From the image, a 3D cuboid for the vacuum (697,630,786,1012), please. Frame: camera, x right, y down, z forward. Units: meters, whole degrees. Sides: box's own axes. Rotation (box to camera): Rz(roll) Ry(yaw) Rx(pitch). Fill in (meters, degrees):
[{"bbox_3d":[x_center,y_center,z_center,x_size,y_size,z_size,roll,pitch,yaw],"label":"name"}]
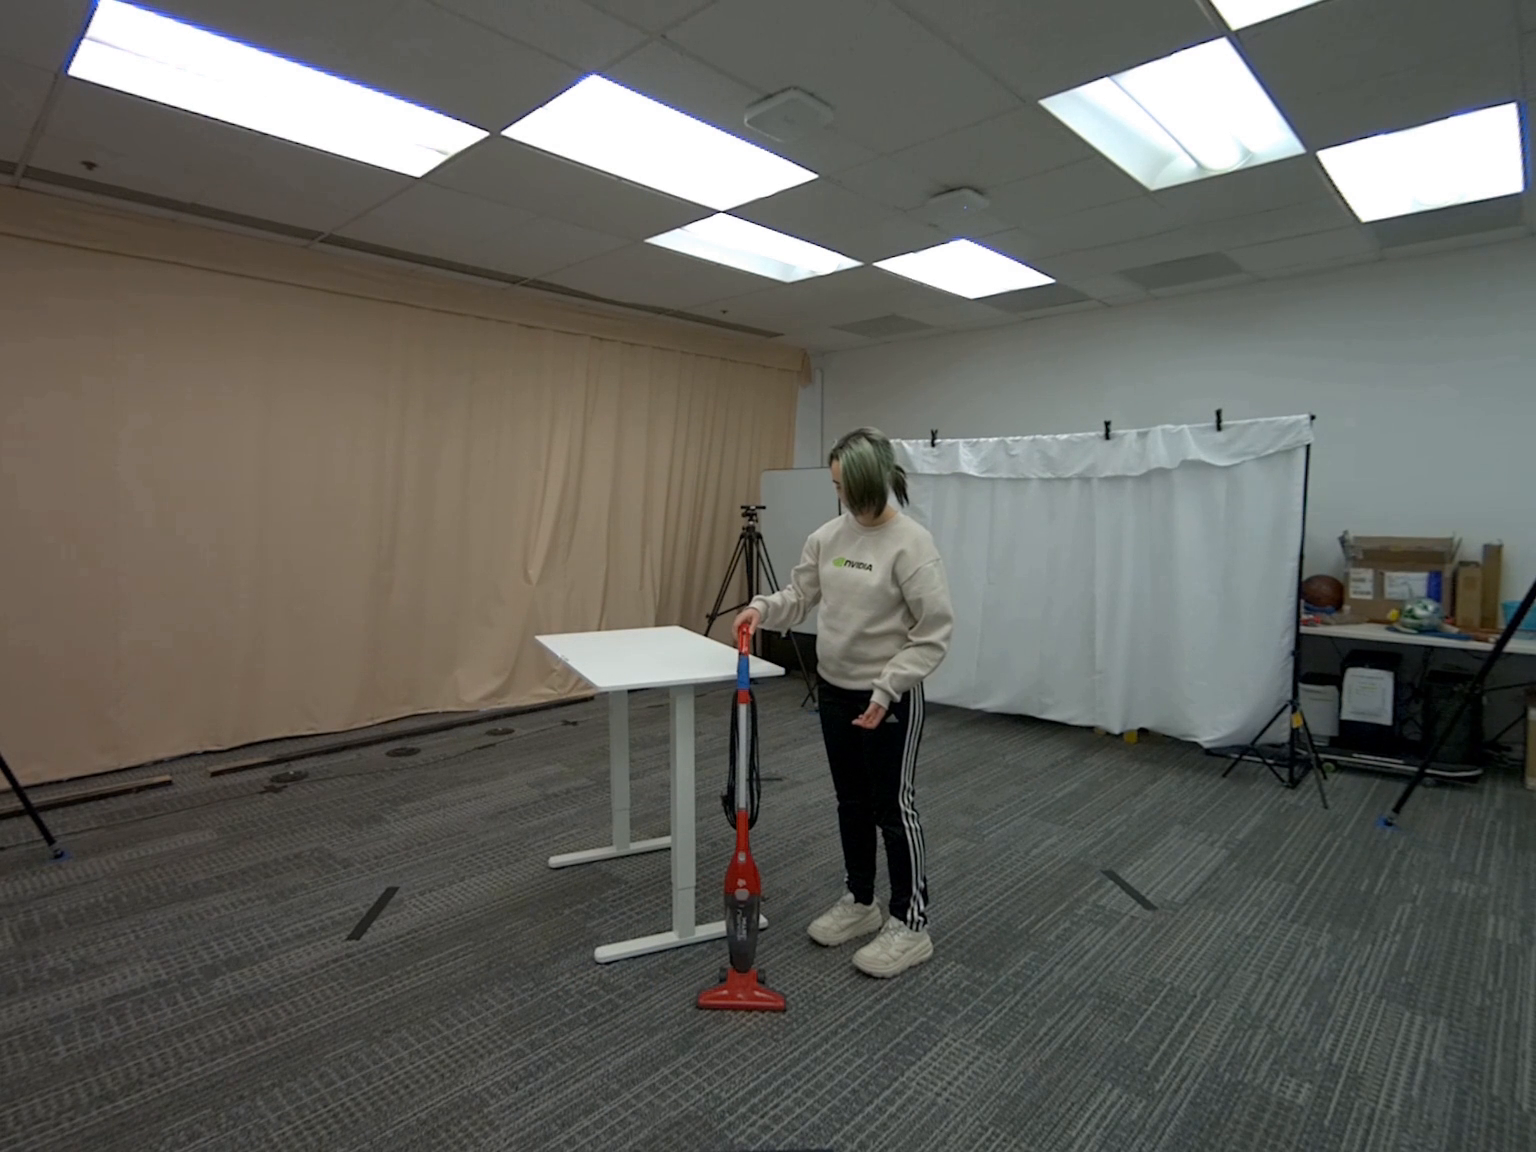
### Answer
[{"bbox_3d":[-0.061,0.687,2.484,0.253,1.056,0.143,2,-11,1],"label":"vacuum"}]
